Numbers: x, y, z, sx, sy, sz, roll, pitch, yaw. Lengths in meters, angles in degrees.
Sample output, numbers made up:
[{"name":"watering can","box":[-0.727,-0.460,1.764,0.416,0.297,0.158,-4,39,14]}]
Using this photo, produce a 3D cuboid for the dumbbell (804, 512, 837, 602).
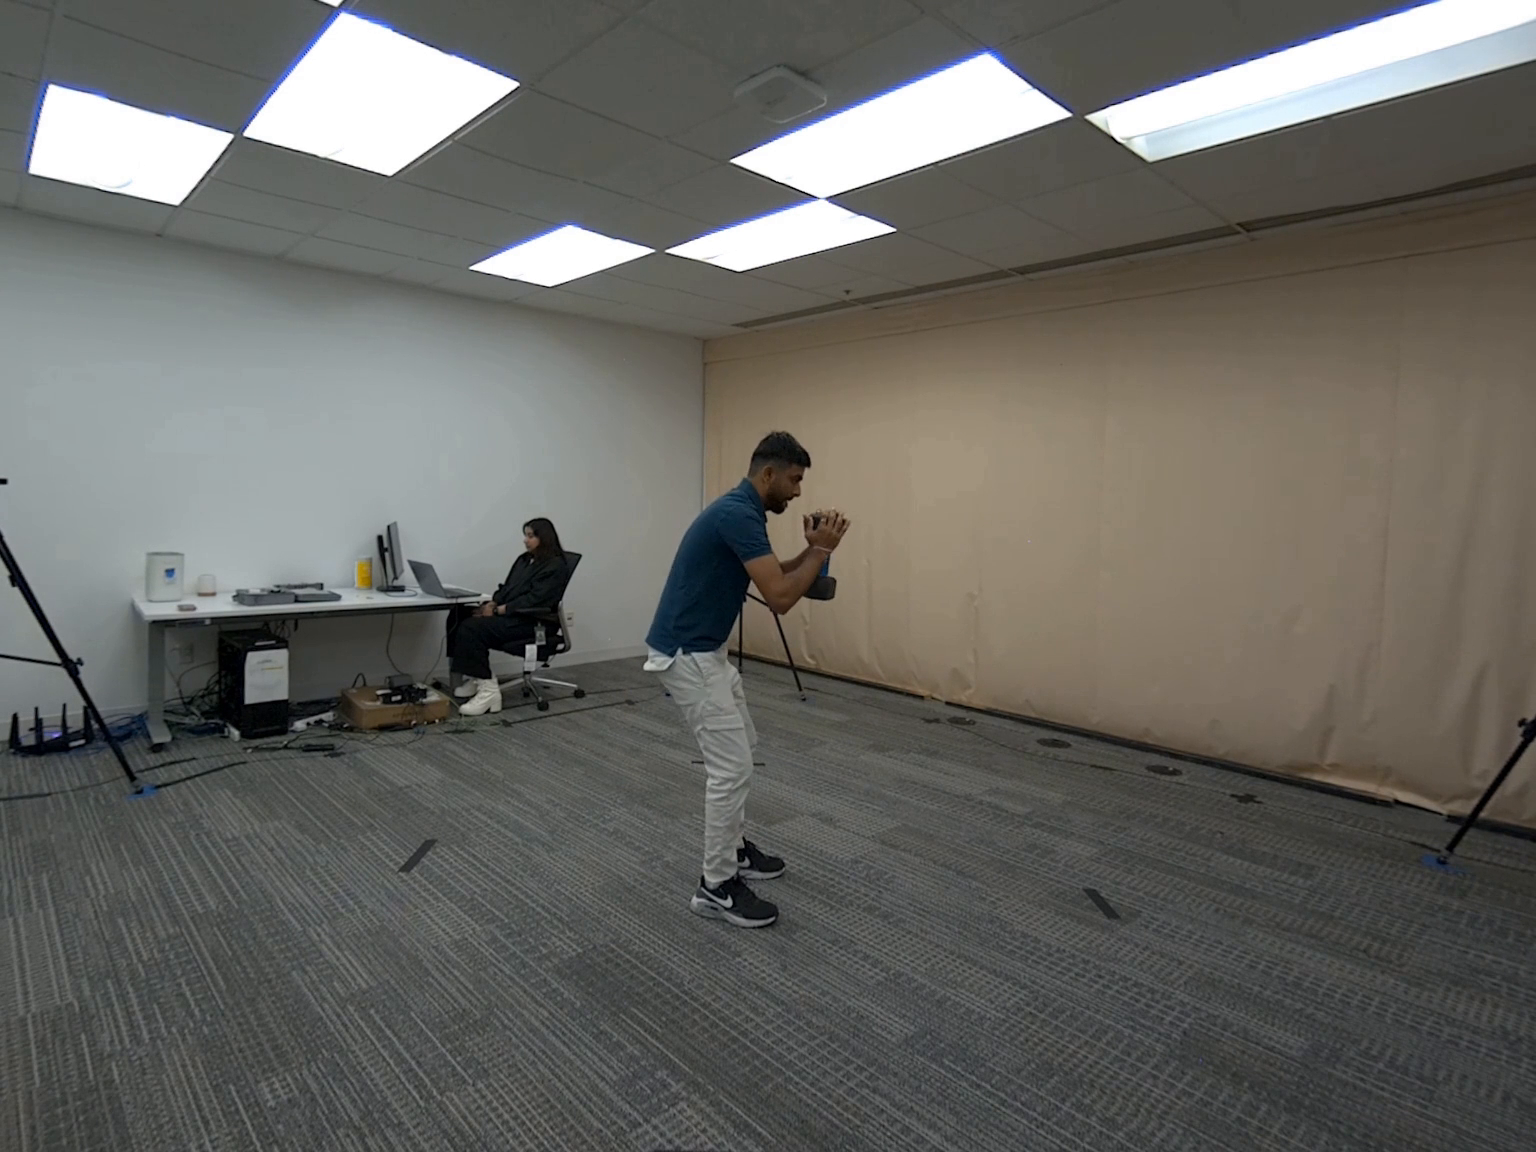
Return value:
[{"name":"dumbbell","box":[0.183,-0.059,2.893,0.123,0.293,0.109,5,3,-1]}]
